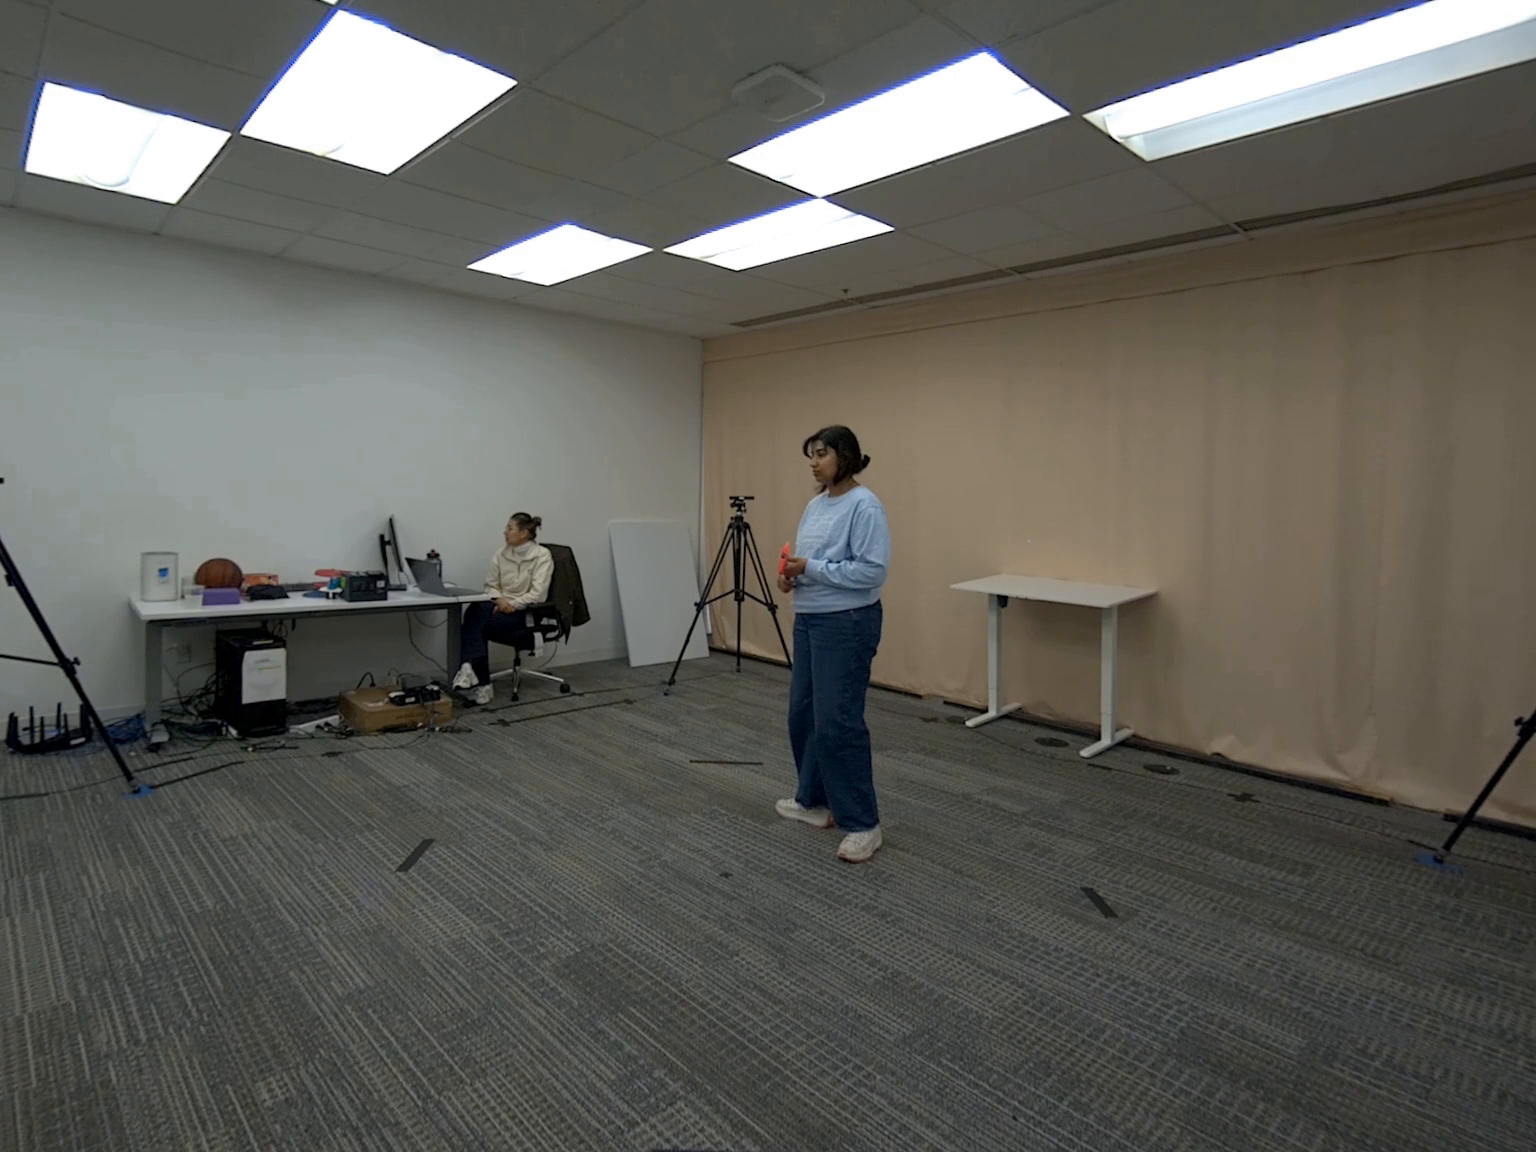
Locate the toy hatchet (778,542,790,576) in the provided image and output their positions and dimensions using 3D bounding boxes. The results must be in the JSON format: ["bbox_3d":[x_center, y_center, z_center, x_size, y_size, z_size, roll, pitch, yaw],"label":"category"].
[{"bbox_3d":[0.056,-0.011,3.358,0.030,0.132,0.264,12,-37,9],"label":"toy hatchet"}]
